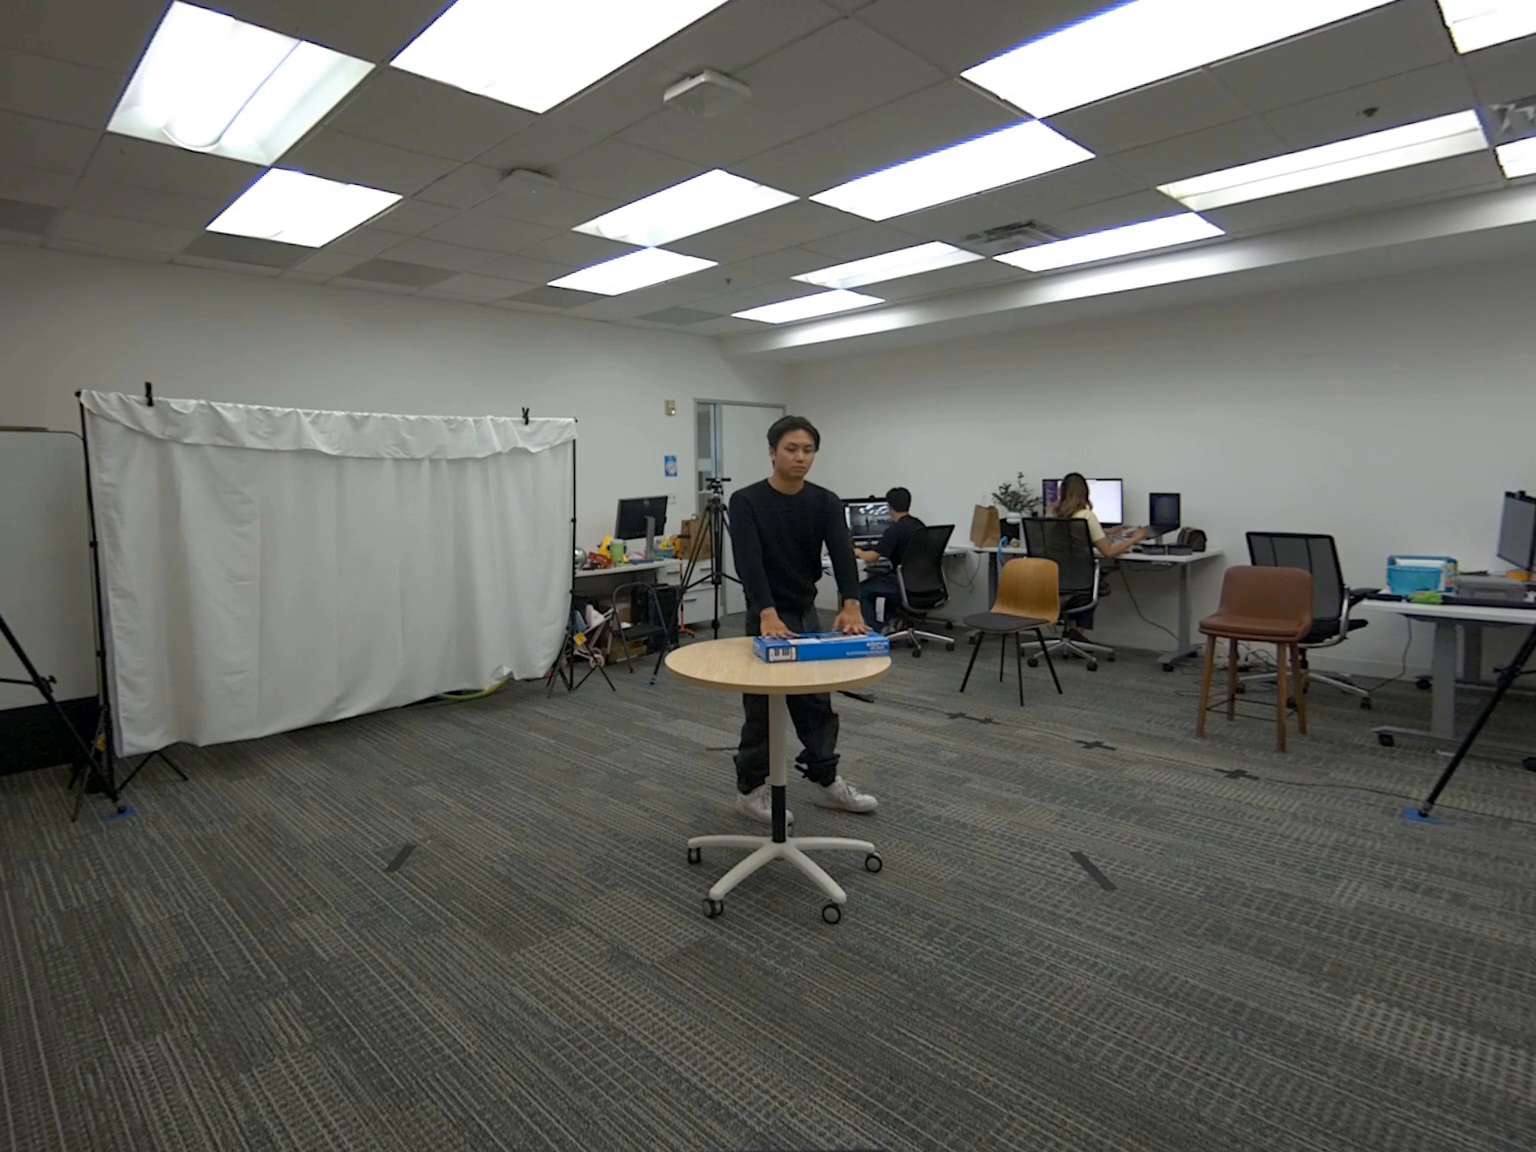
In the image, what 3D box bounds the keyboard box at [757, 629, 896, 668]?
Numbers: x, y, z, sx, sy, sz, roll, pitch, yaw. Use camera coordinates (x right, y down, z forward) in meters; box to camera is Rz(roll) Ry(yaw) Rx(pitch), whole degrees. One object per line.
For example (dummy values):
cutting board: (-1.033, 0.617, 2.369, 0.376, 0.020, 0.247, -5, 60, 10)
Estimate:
keyboard box: (0.199, 0.245, 2.964, 0.431, 0.059, 0.179, -4, 7, -15)
